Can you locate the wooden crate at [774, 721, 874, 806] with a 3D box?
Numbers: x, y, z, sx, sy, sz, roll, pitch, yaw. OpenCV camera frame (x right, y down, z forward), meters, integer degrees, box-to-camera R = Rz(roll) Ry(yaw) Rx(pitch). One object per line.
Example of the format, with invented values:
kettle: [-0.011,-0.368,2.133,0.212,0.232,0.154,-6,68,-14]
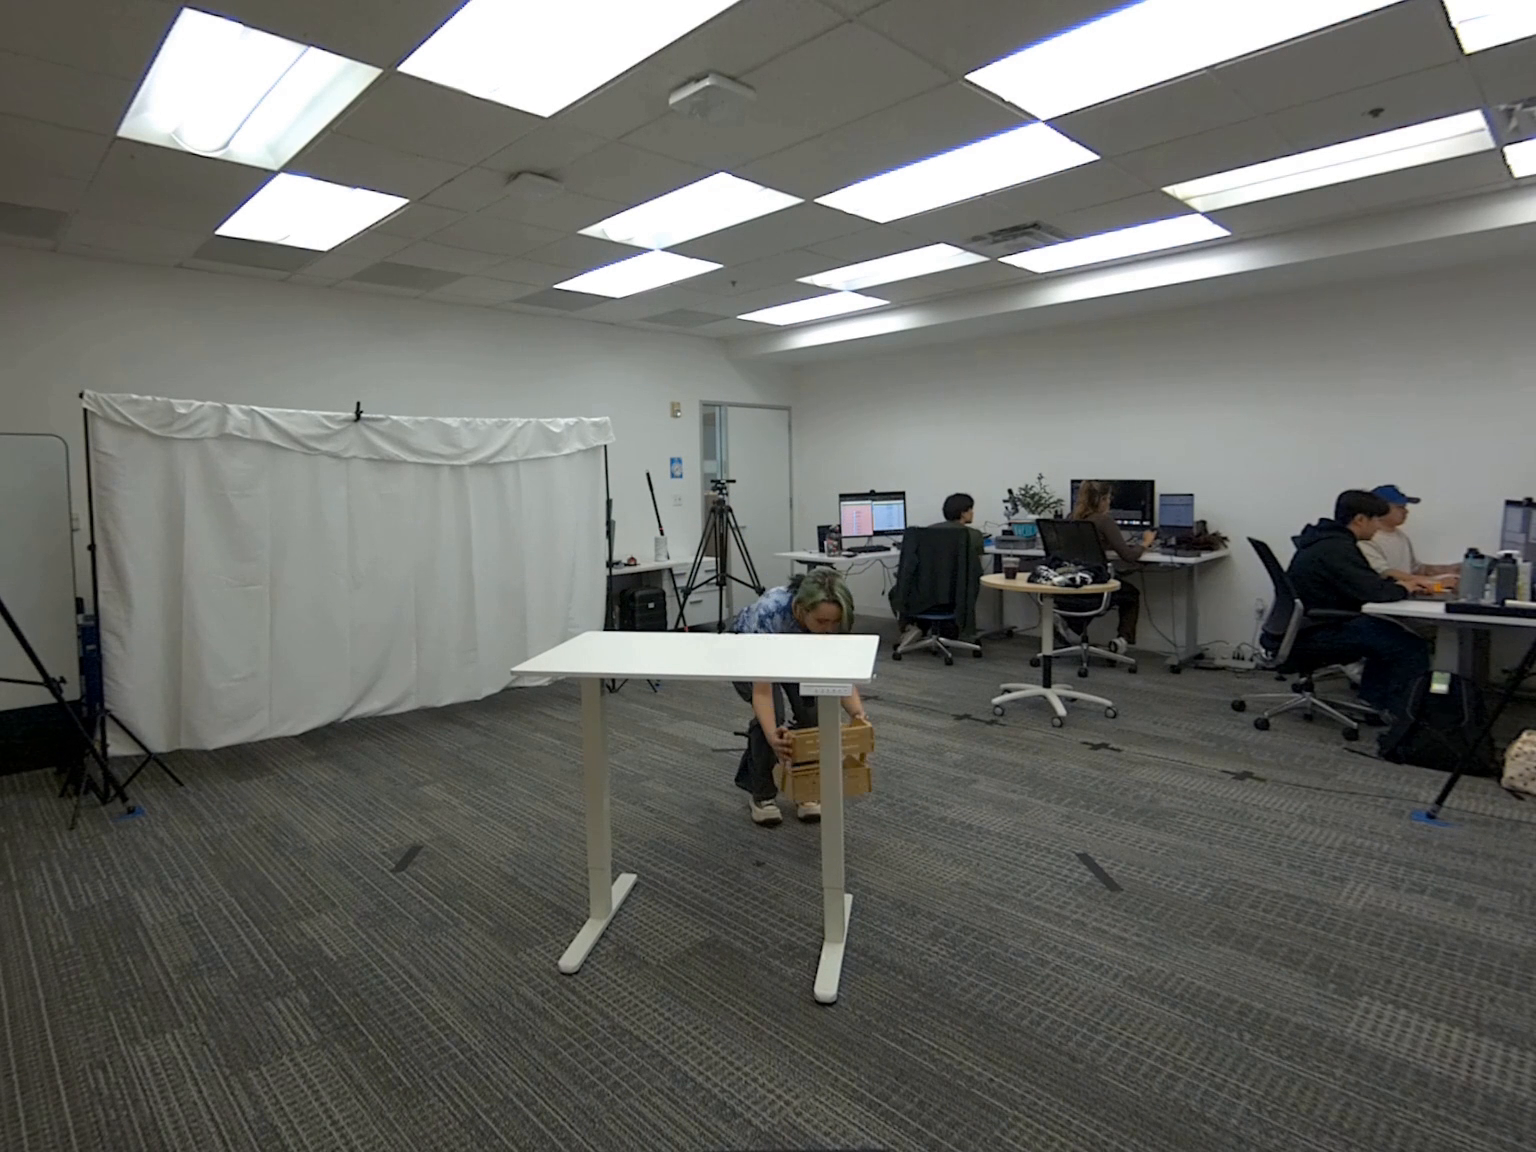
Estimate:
wooden crate: [0.198,0.657,3.170,0.320,0.272,0.307,-6,5,-15]
